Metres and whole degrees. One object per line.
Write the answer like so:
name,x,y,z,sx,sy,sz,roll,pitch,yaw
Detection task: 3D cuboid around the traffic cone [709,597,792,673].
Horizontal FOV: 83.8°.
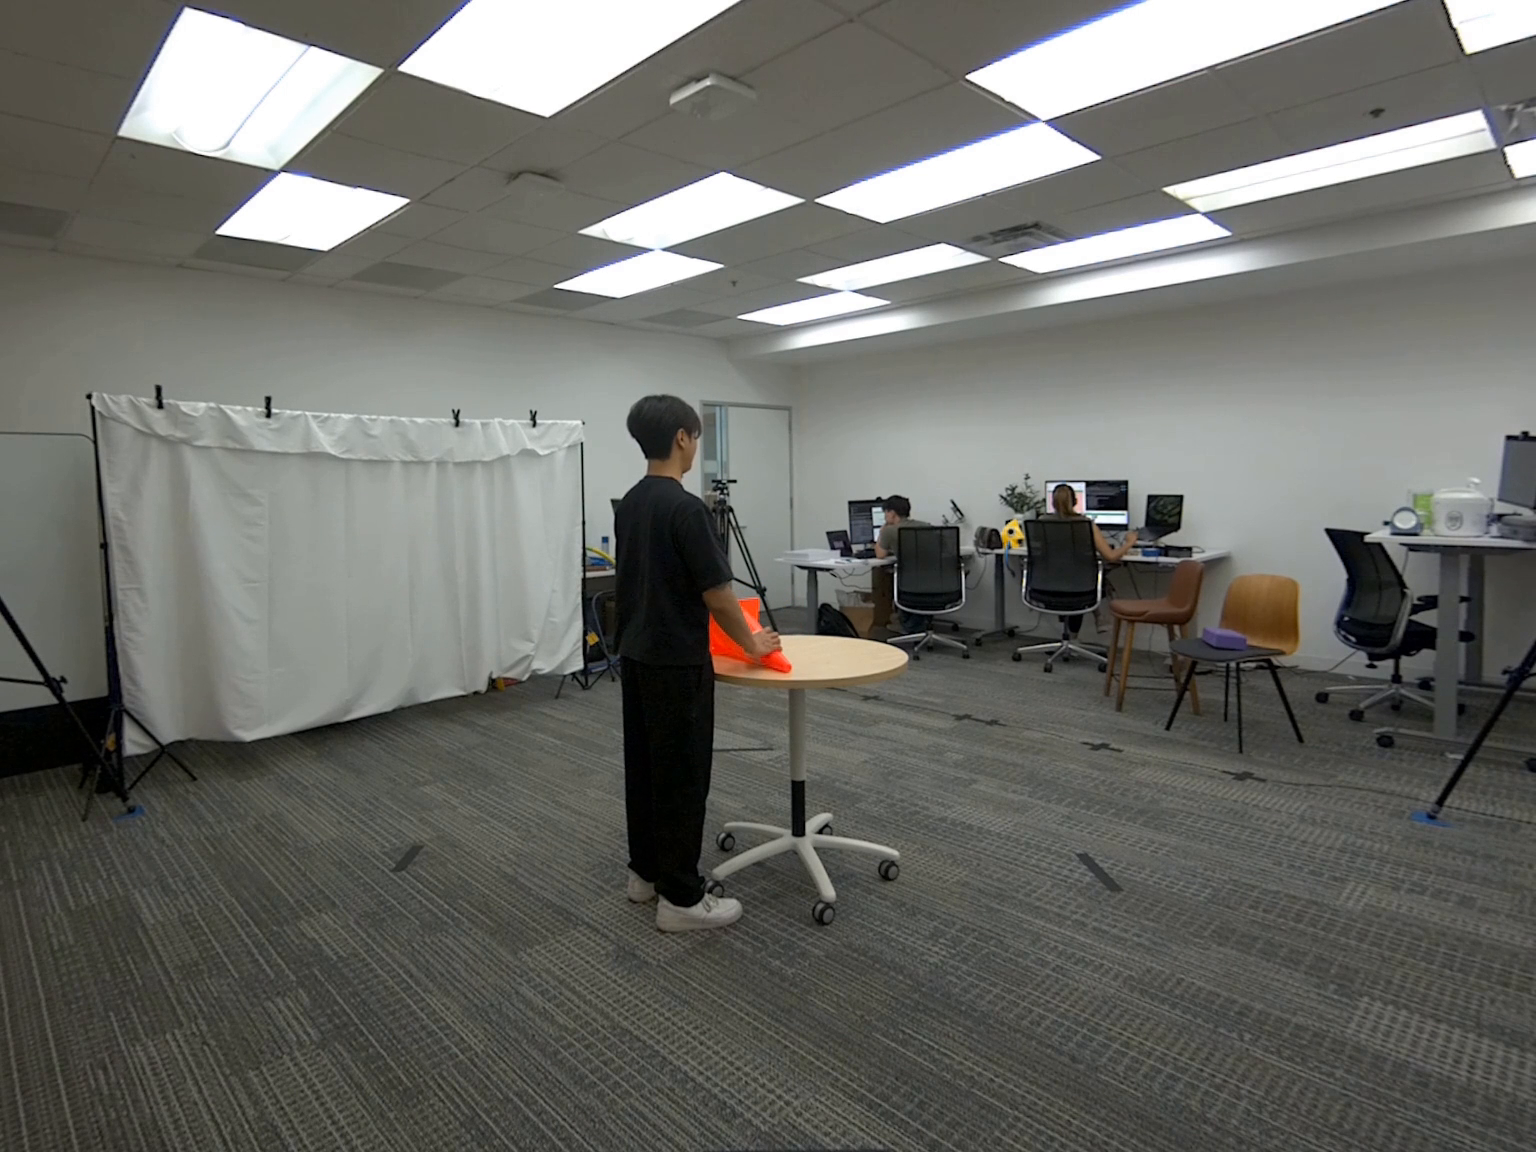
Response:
traffic cone,-0.028,0.240,2.863,0.200,0.201,0.397,-5,18,-27
